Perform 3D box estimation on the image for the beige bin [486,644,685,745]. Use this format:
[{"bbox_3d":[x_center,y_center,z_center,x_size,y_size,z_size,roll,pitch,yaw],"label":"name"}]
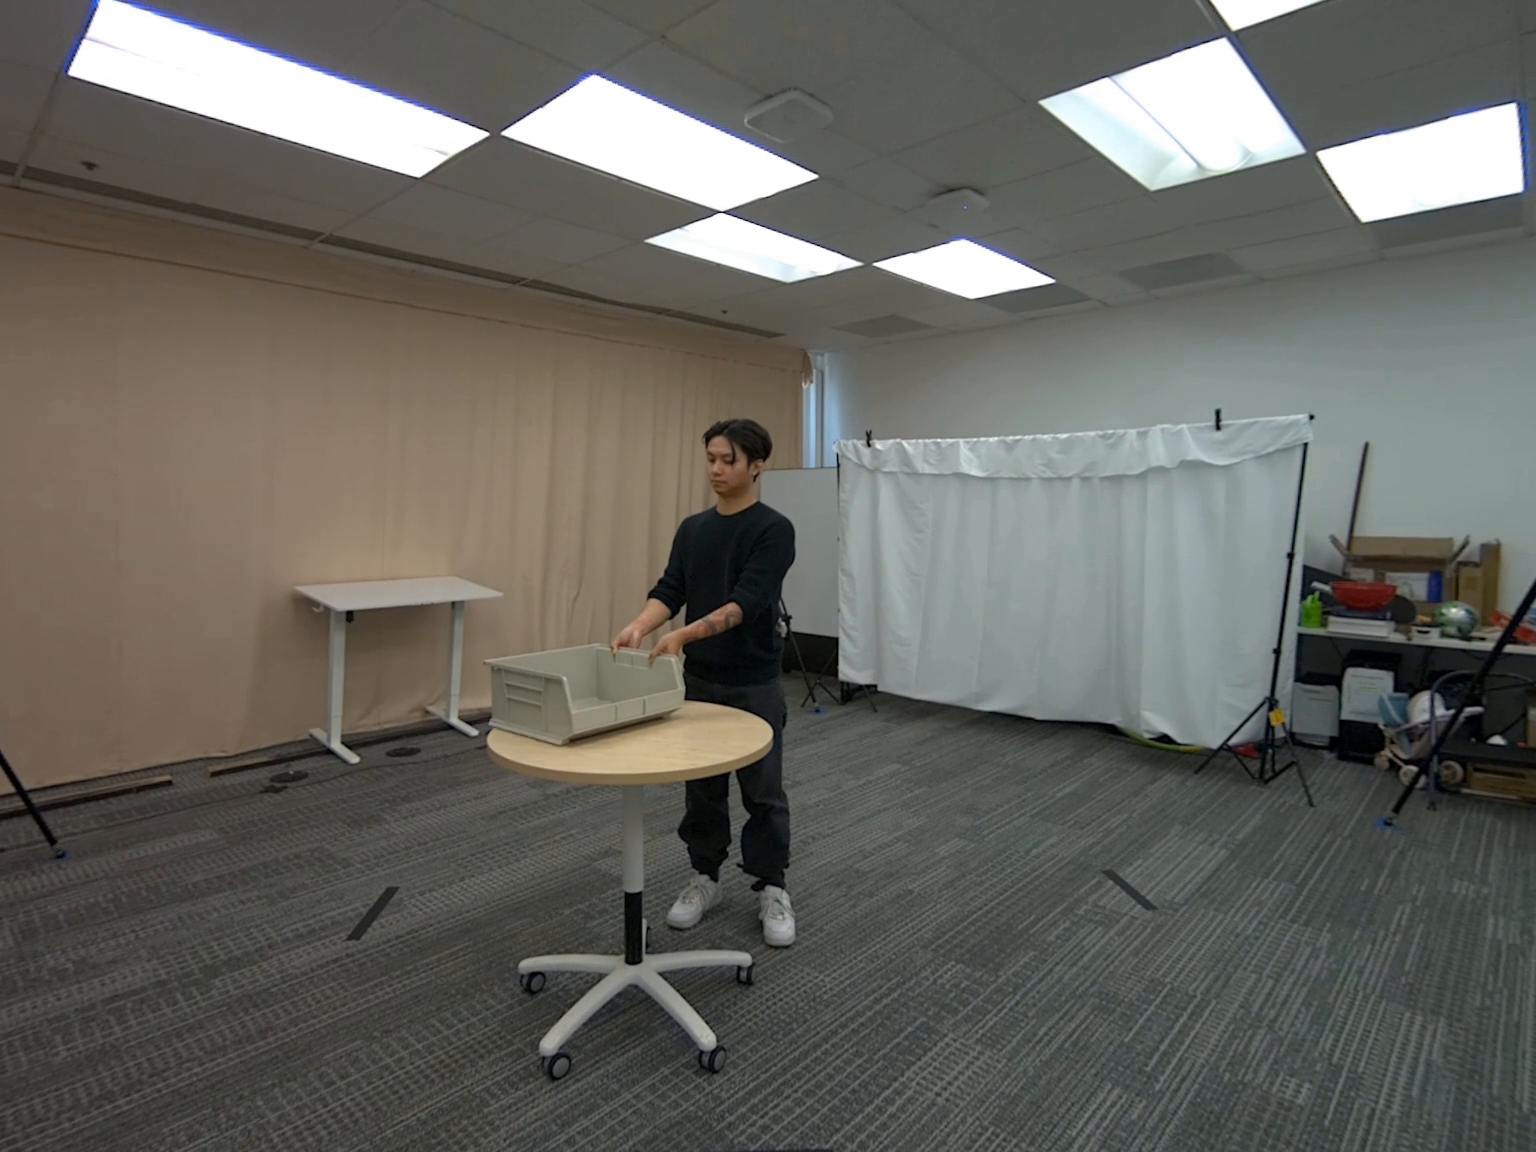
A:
[{"bbox_3d":[-0.513,0.317,2.364,0.389,0.189,0.409,2,4,39],"label":"beige bin"}]
